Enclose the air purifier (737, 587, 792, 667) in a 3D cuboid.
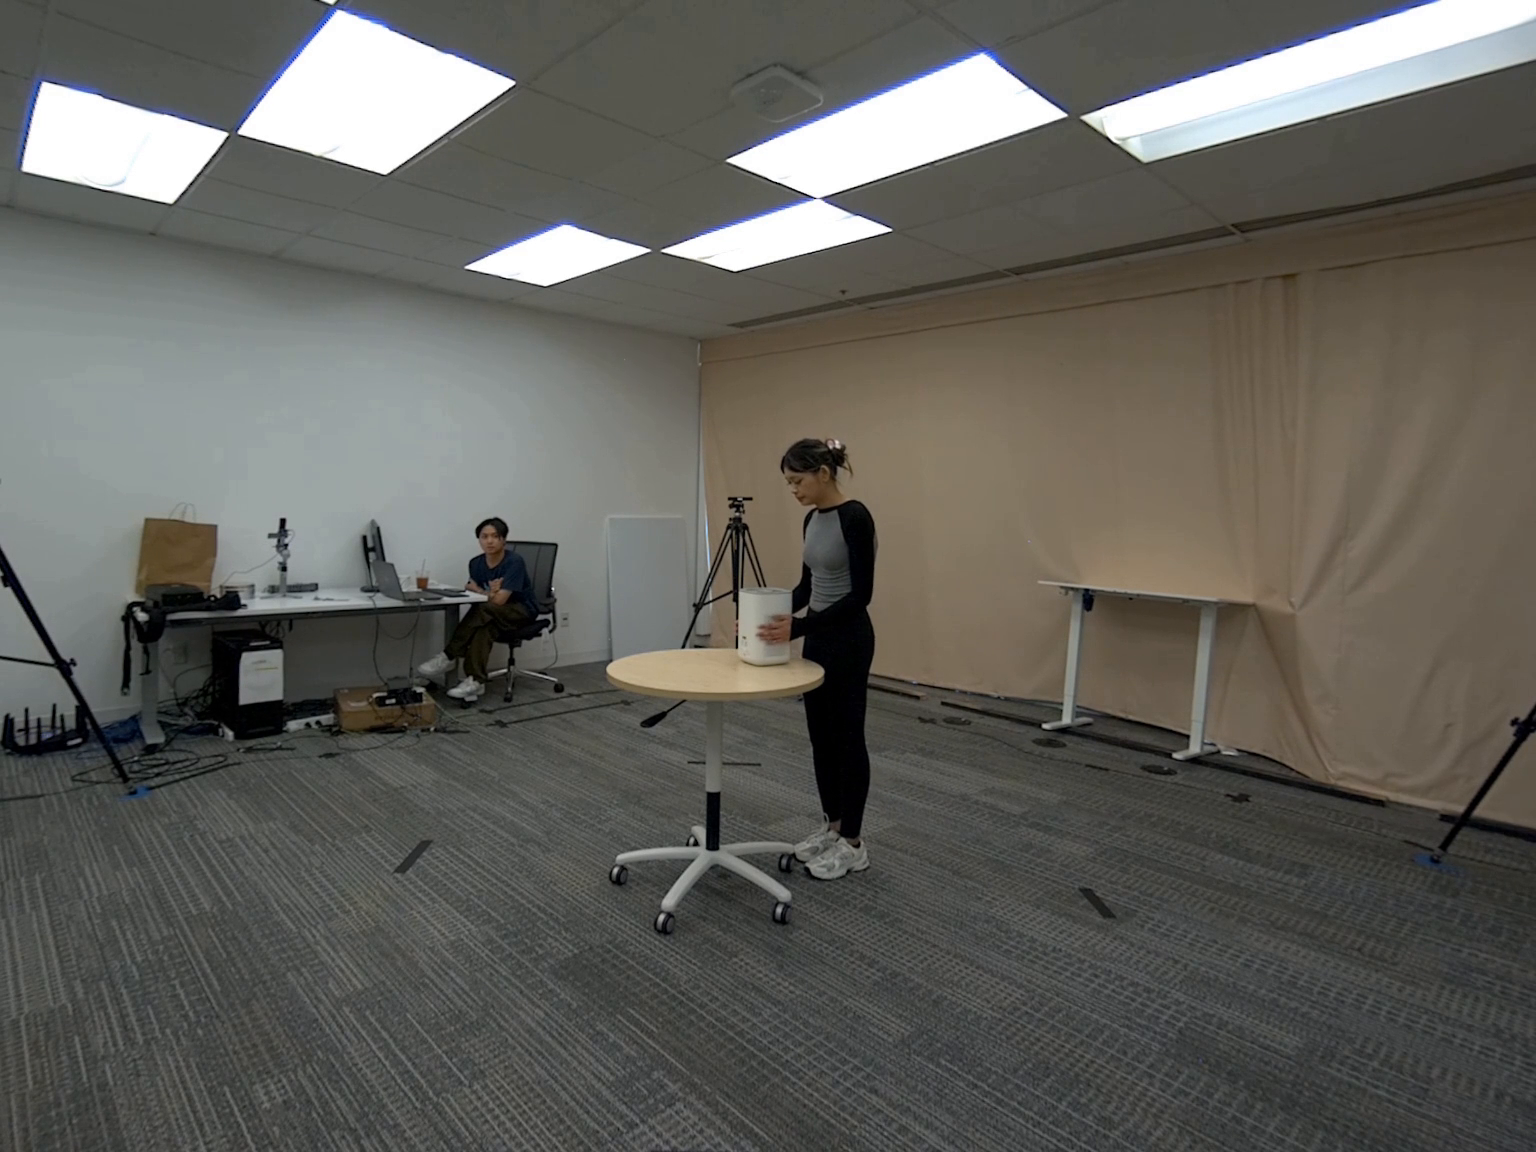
[{"bbox_3d":[-0.015,0.182,3.084,0.168,0.265,0.175,-1,3,-25],"label":"air purifier"}]
